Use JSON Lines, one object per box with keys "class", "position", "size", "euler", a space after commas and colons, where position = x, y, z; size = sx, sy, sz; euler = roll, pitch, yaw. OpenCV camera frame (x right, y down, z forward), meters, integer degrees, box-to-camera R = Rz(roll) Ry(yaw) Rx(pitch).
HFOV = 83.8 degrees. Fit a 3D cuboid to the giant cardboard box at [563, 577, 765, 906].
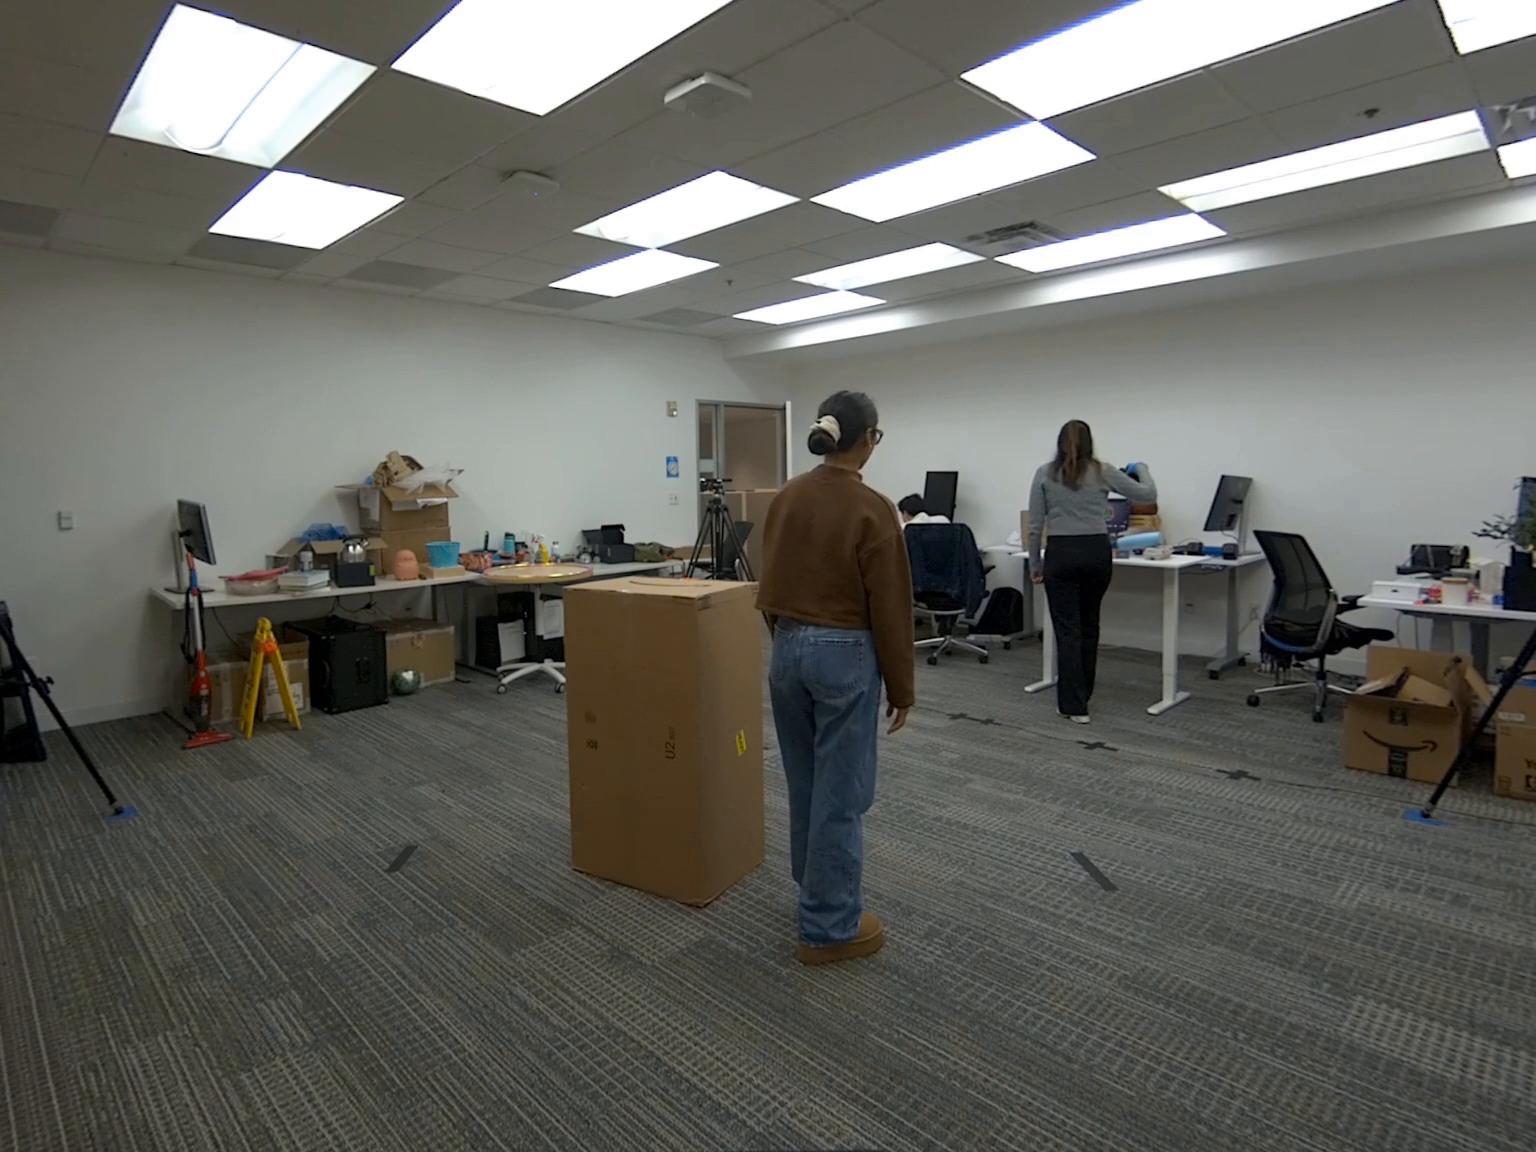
{"class": "giant cardboard box", "position": [-0.370, 0.542, 3.087], "size": [0.593, 1.023, 0.416], "euler": [2, 4, 31]}
